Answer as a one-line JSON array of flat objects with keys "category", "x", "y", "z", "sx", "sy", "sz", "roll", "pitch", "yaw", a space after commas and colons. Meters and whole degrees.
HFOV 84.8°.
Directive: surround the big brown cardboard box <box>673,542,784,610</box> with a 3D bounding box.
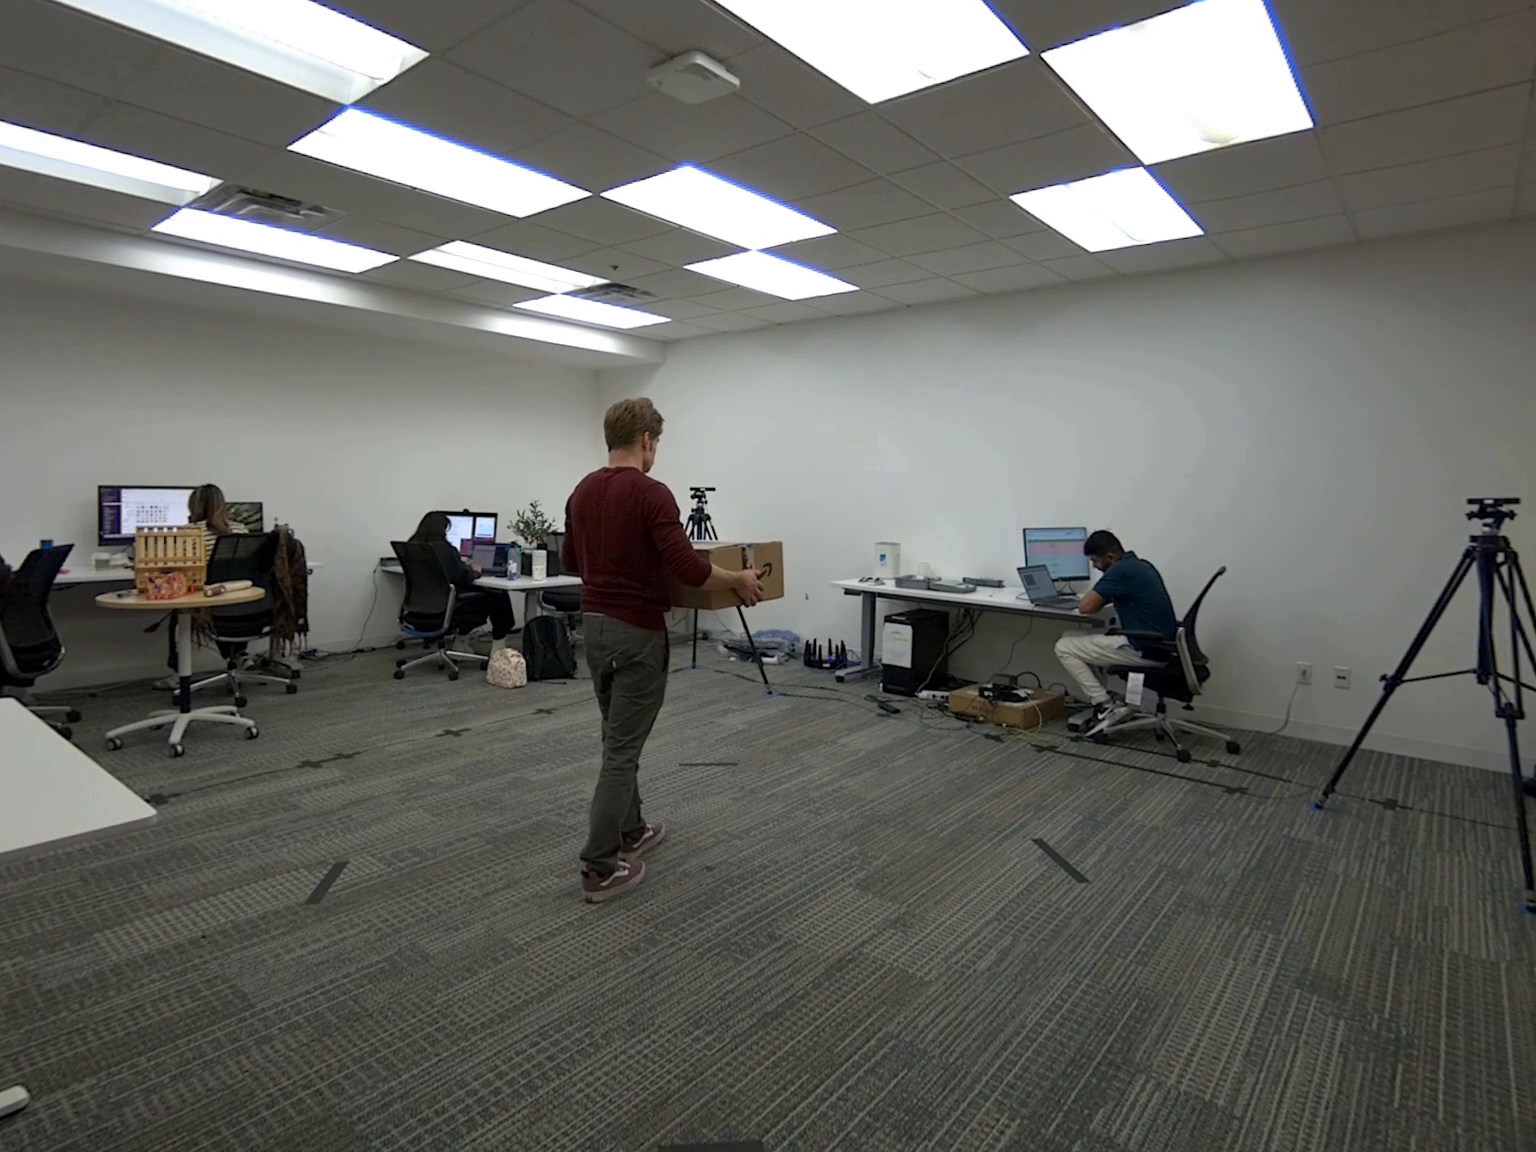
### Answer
[{"category": "big brown cardboard box", "x": -0.302, "y": -0.020, "z": 3.270, "sx": 0.608, "sy": 0.232, "sz": 0.406, "roll": 3, "pitch": 7, "yaw": 39}]
